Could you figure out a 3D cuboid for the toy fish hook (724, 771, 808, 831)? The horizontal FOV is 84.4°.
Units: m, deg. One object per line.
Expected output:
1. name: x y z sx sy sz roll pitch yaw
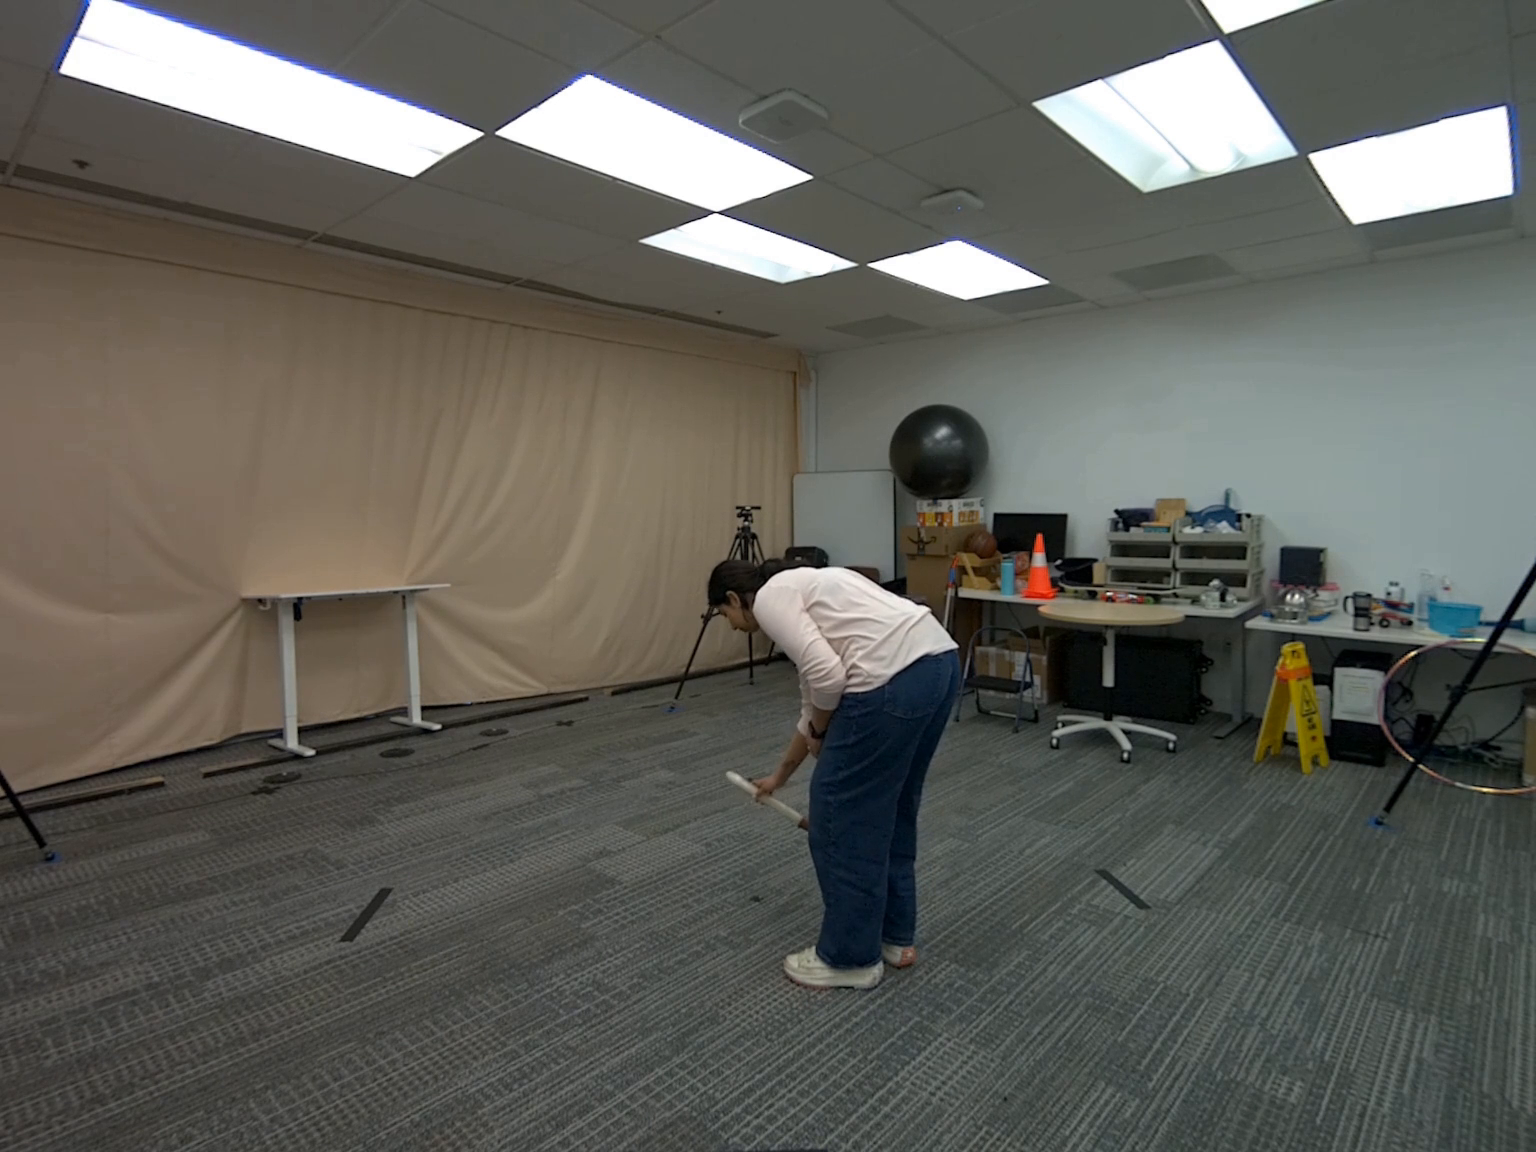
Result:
1. toy fish hook: 0.083 0.848 3.019 0.513 0.048 0.222 31 -6 9
